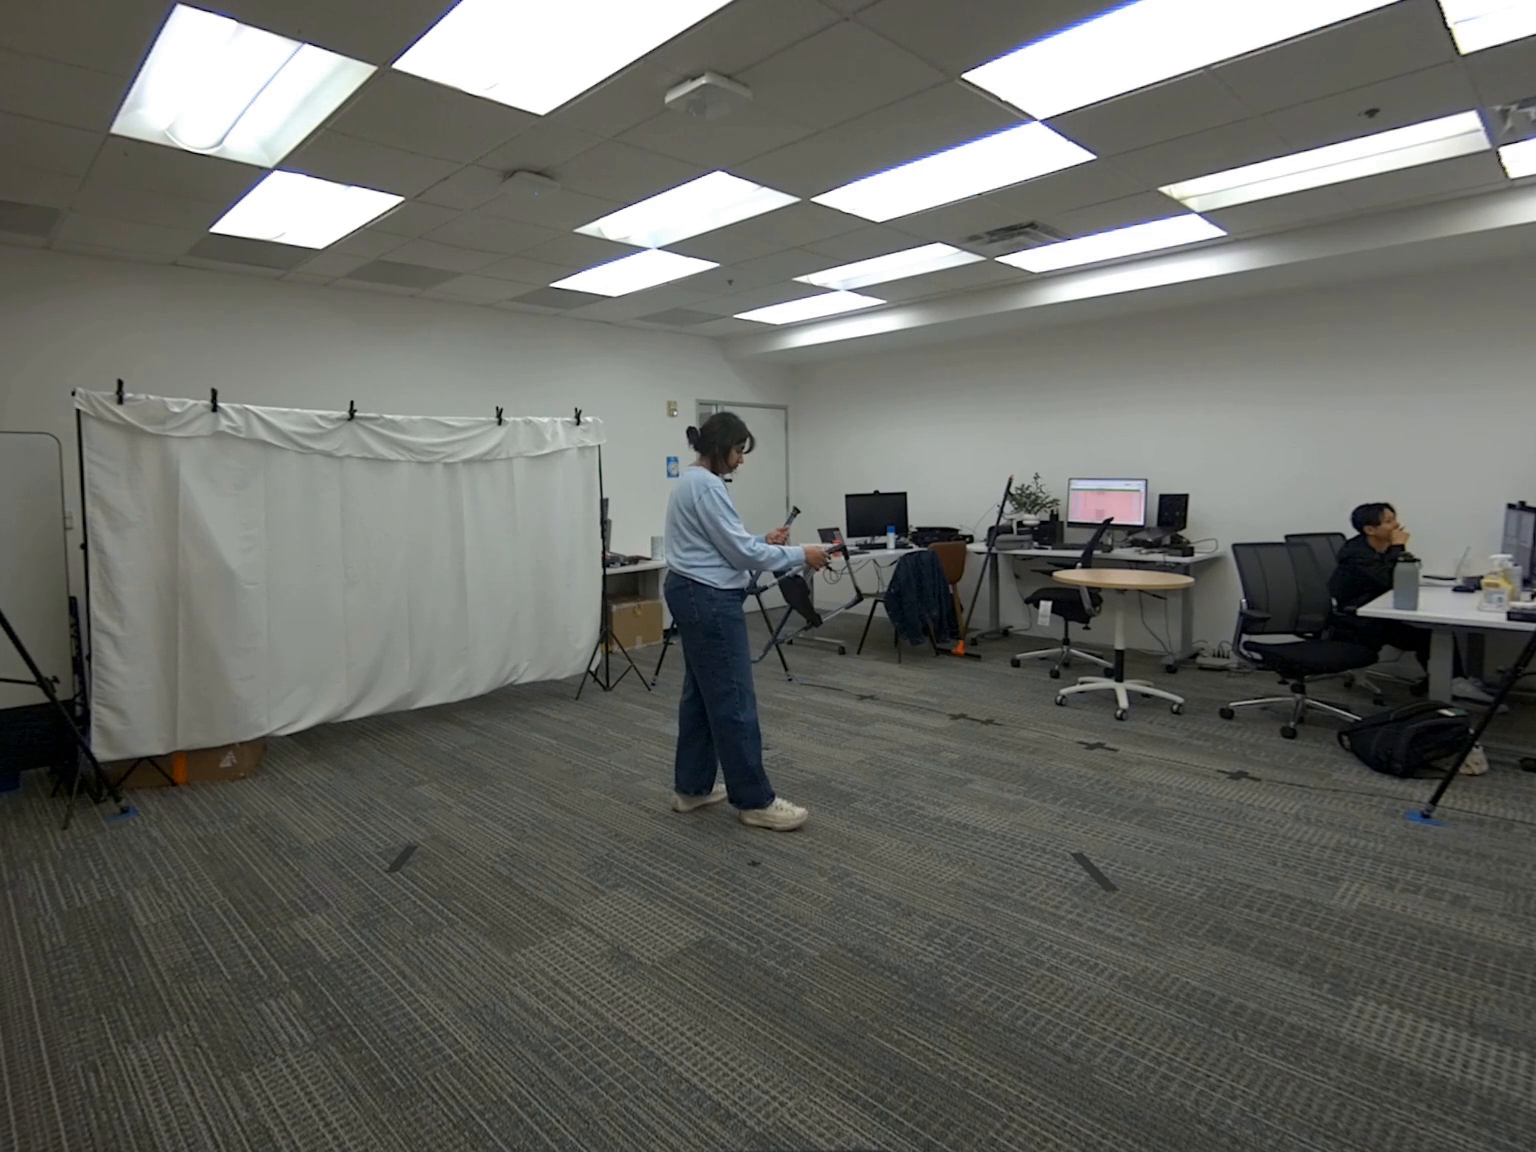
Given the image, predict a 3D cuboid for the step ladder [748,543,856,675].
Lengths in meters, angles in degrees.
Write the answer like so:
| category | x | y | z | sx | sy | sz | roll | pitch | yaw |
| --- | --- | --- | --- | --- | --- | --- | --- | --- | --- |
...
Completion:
| category | x | y | z | sx | sy | sz | roll | pitch | yaw |
| --- | --- | --- | --- | --- | --- | --- | --- | --- | --- |
| step ladder | 0.059 | 0.084 | 3.780 | 0.605 | 0.415 | 0.363 | -40 | 49 | -13 |
